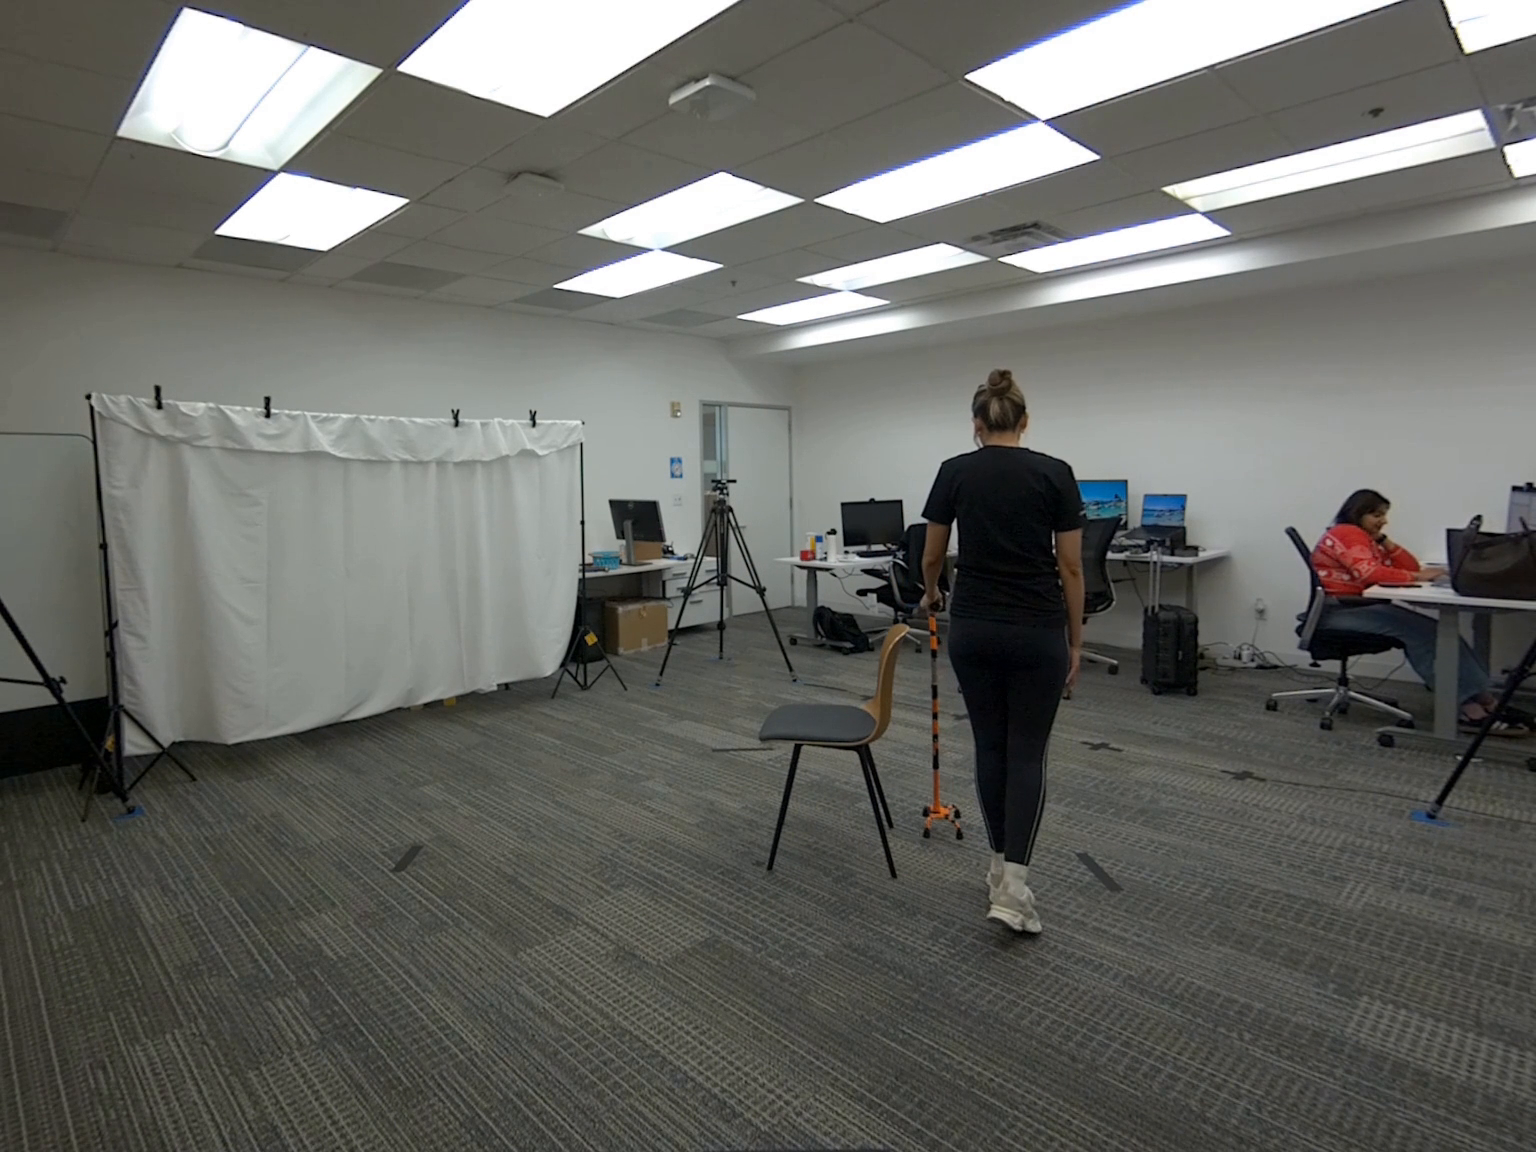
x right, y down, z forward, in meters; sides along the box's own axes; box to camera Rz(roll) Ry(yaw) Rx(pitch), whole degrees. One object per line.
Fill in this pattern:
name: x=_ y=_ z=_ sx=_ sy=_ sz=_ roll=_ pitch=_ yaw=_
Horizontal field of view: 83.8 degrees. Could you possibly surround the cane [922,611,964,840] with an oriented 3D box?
cane: x=0.657 y=0.538 z=3.272 sx=0.153 sy=0.902 sz=0.205 roll=-2 pitch=6 yaw=11
